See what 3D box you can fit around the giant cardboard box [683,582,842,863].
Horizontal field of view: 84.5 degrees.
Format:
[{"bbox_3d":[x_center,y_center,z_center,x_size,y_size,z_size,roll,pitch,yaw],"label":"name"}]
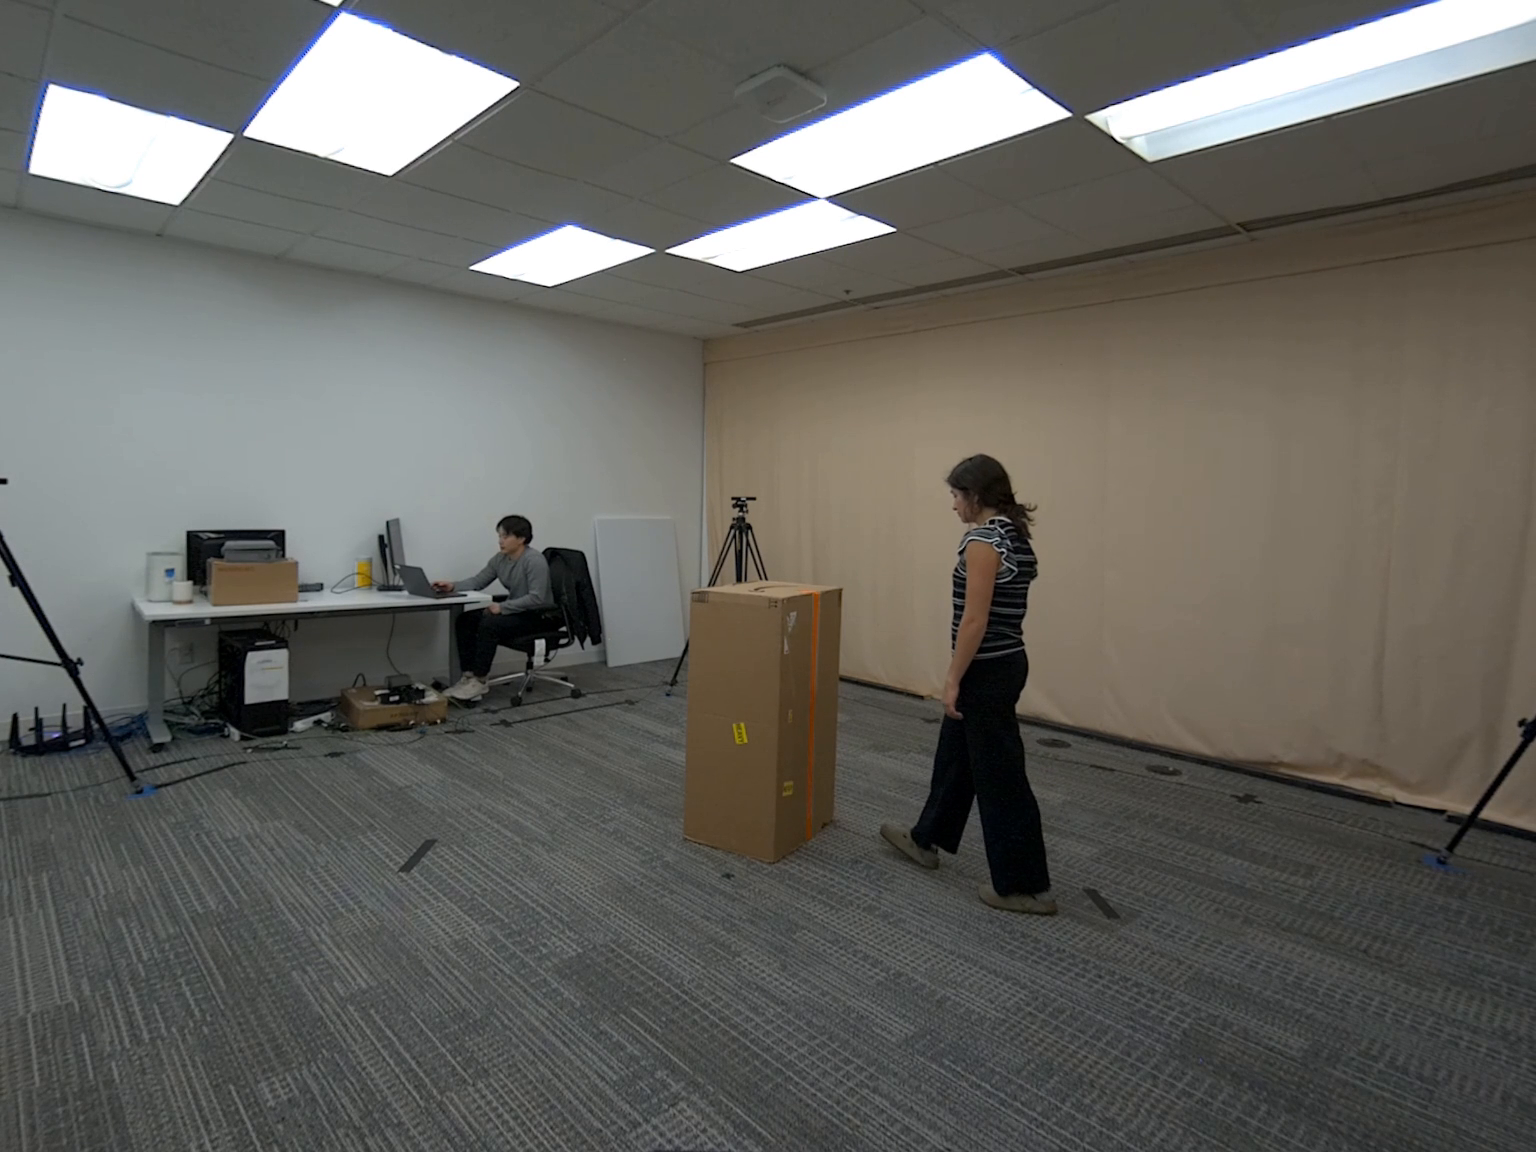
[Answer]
[{"bbox_3d":[-0.014,0.562,3.550,0.436,1.024,0.566,4,3,30],"label":"giant cardboard box"}]
